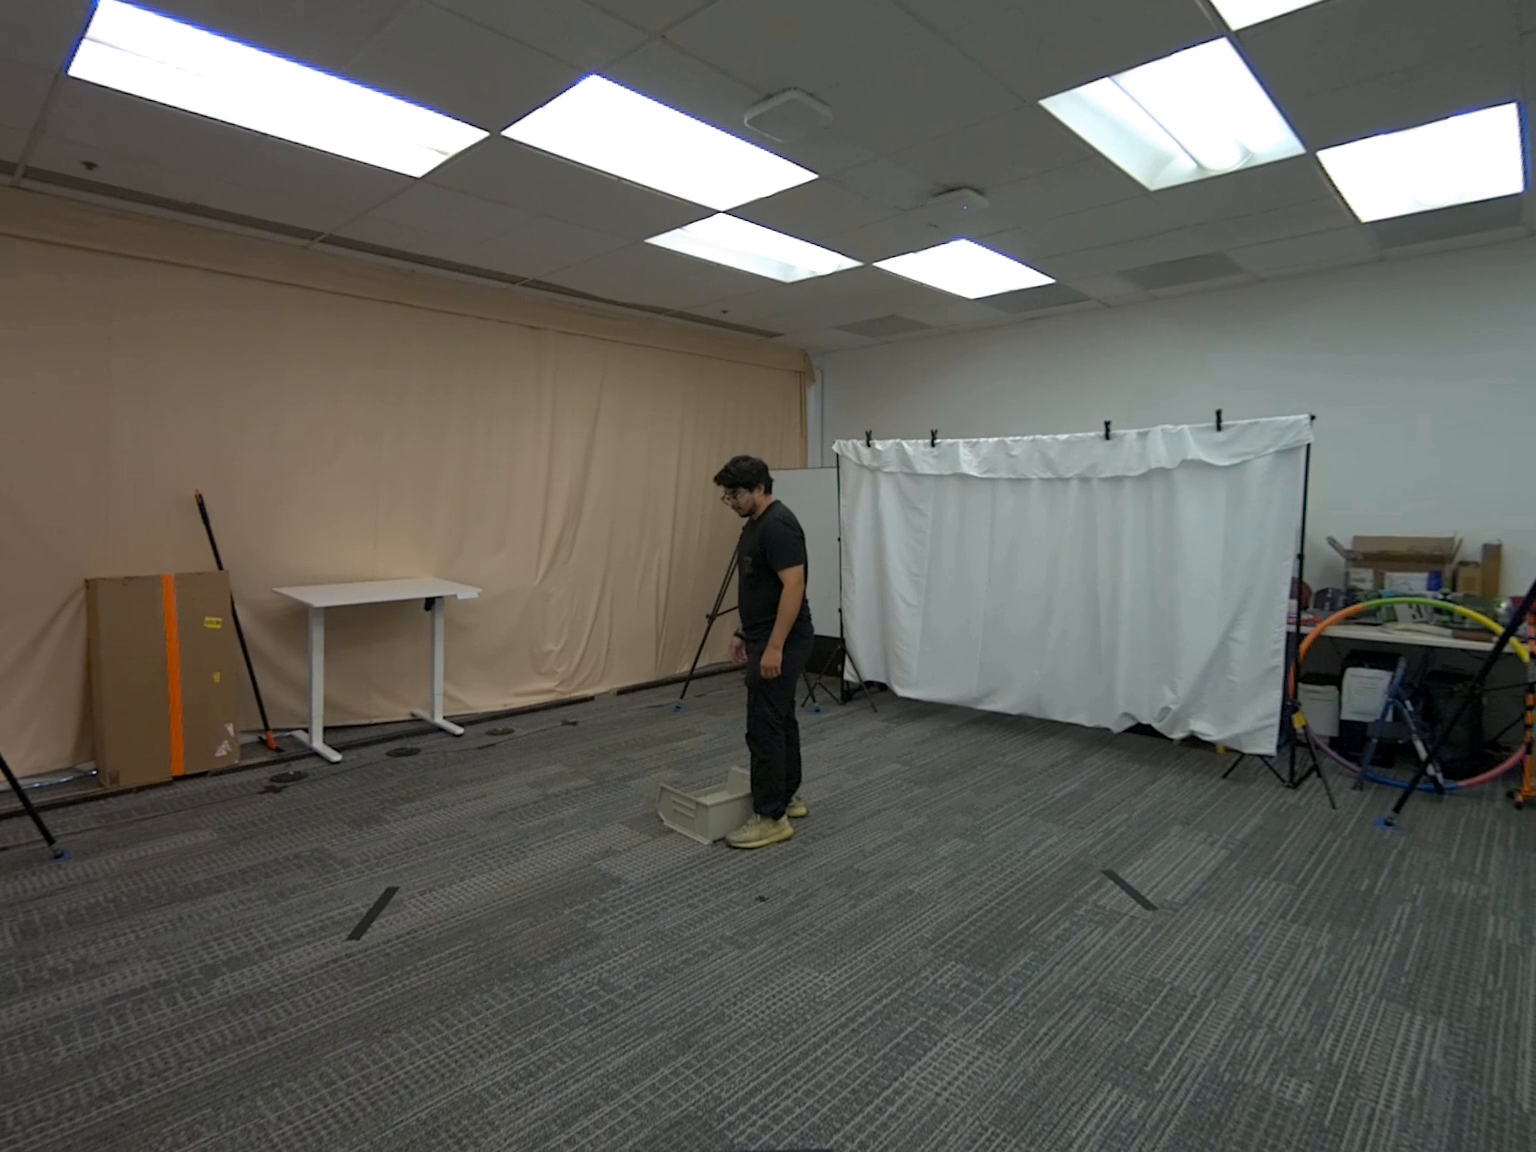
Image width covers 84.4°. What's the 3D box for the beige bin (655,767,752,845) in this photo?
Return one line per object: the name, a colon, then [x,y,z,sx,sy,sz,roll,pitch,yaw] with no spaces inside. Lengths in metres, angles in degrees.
beige bin: [-0.216,0.993,3.713,0.409,0.188,0.390,-4,6,-40]
